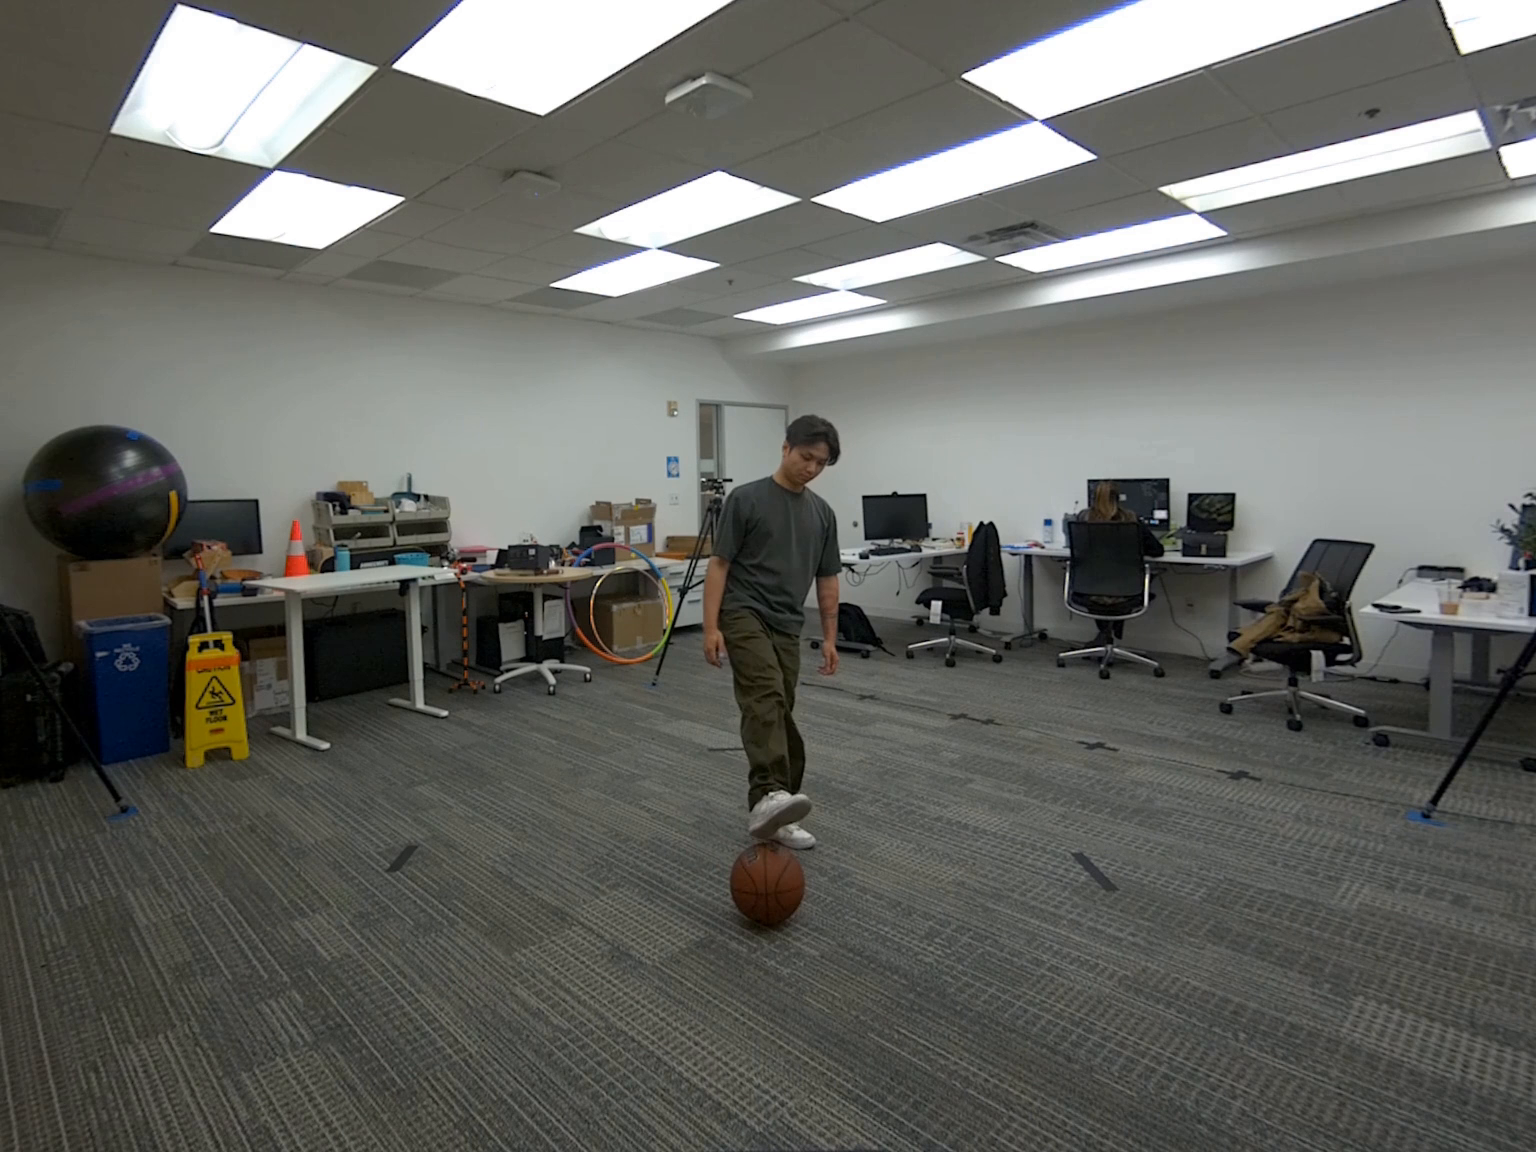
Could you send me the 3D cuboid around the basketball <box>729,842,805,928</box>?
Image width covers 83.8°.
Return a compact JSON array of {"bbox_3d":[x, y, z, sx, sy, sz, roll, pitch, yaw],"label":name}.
[{"bbox_3d":[0.005,0.973,2.702,0.236,0.235,0.237,-1,5,-2],"label":"basketball"}]
